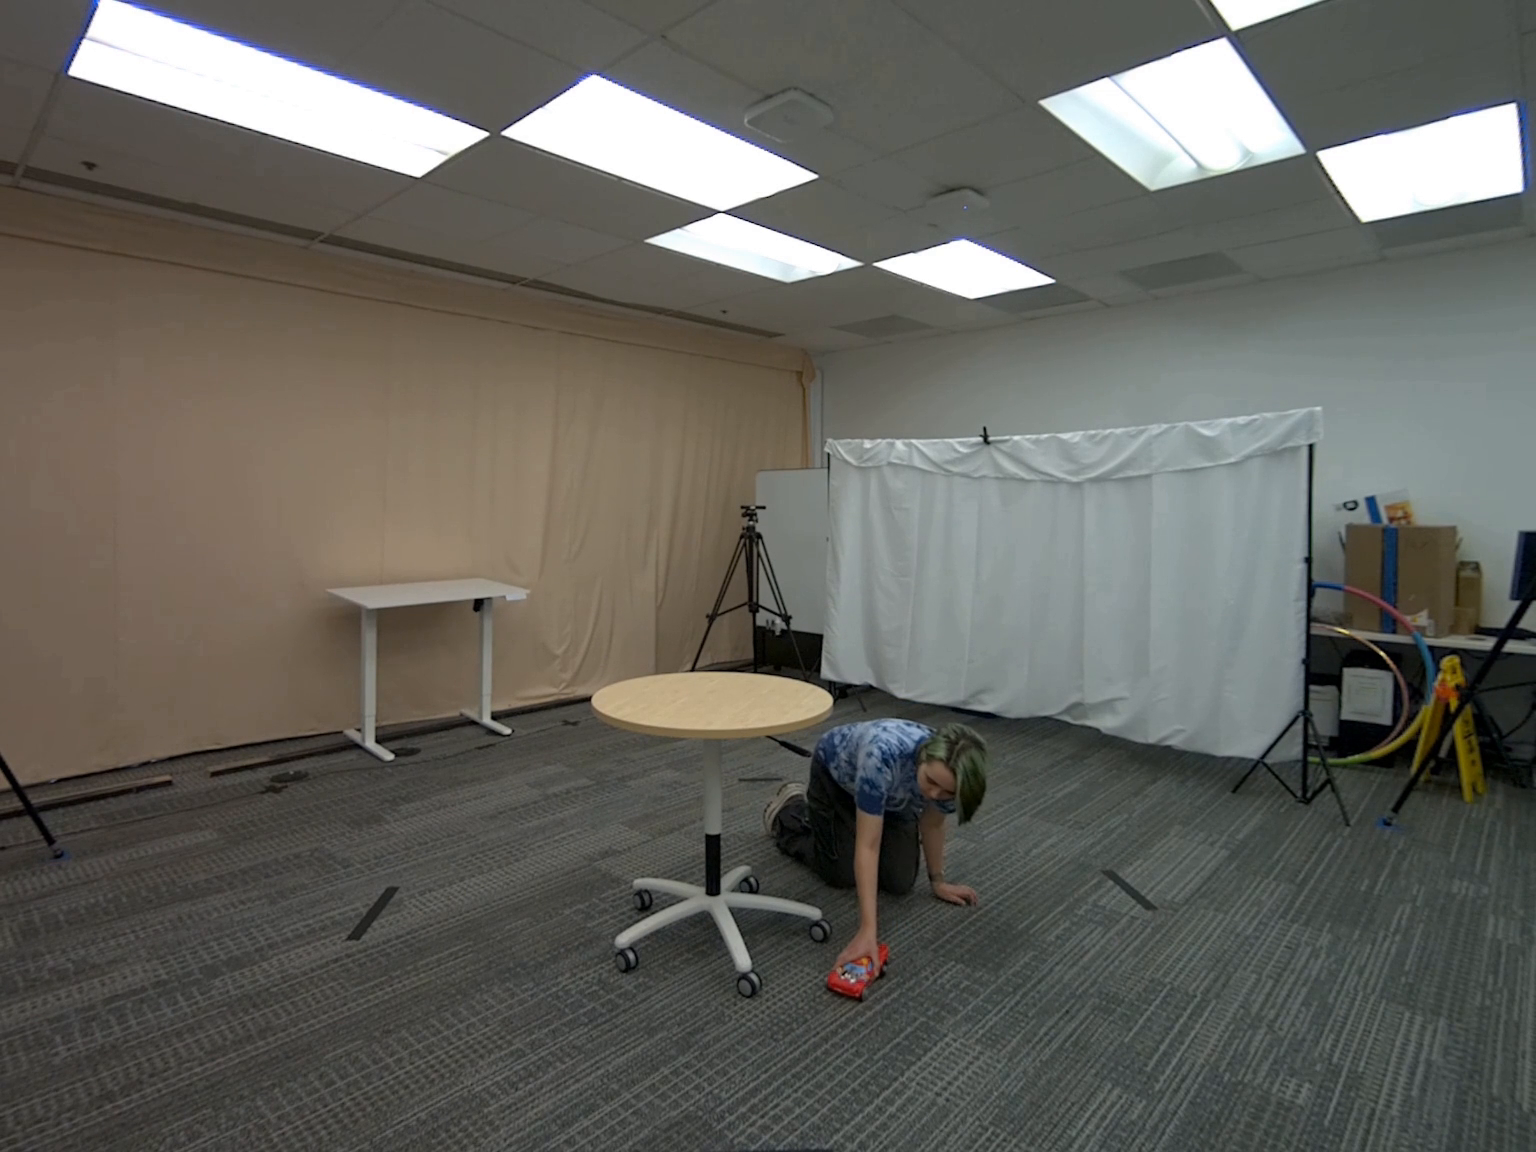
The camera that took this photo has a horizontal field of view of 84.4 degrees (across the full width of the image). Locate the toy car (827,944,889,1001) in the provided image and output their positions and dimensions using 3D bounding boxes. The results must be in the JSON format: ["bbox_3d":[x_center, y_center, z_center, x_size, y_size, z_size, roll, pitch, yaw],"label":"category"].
[{"bbox_3d":[0.277,1.153,2.477,0.134,0.082,0.250,2,17,30],"label":"toy car"}]
